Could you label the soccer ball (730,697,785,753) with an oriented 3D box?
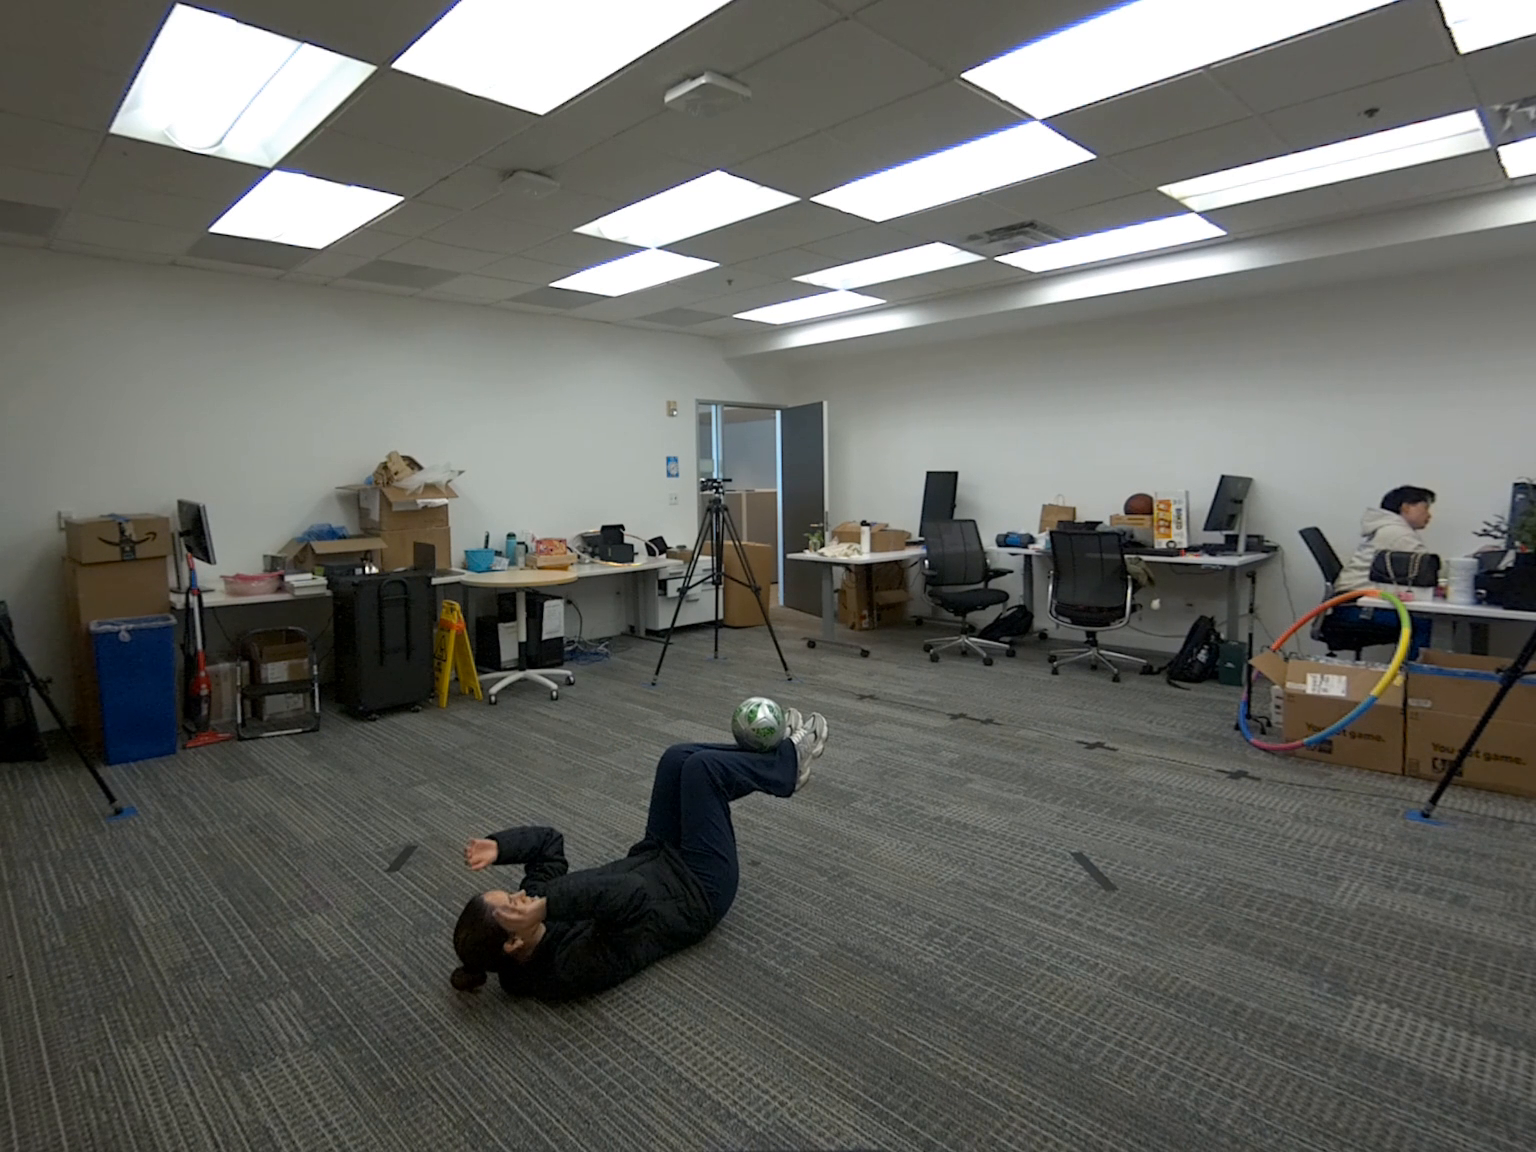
[{"bbox_3d":[-0.024,0.499,2.877,0.187,0.187,0.188,0,1,-2],"label":"soccer ball"}]
